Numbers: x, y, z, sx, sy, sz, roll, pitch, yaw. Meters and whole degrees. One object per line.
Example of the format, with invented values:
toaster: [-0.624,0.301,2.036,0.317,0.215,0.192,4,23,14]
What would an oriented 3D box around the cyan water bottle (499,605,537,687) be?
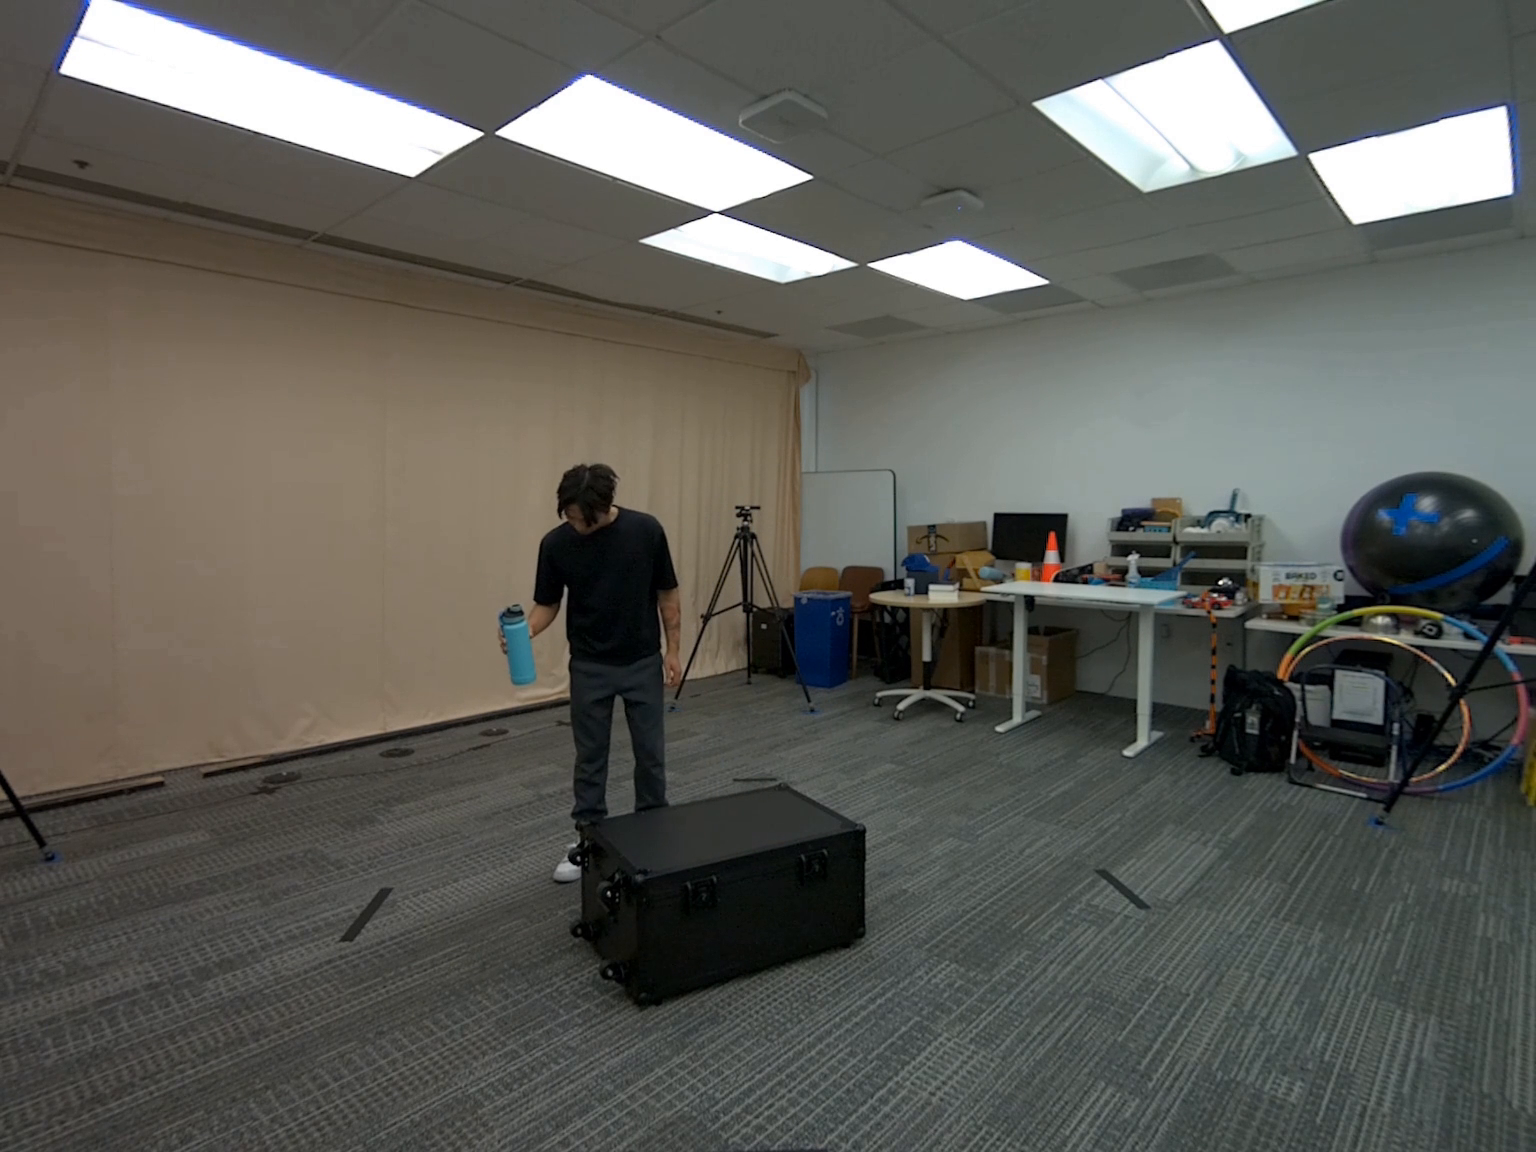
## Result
cyan water bottle: [-0.874,0.235,2.959,0.092,0.280,0.093,-5,18,0]
